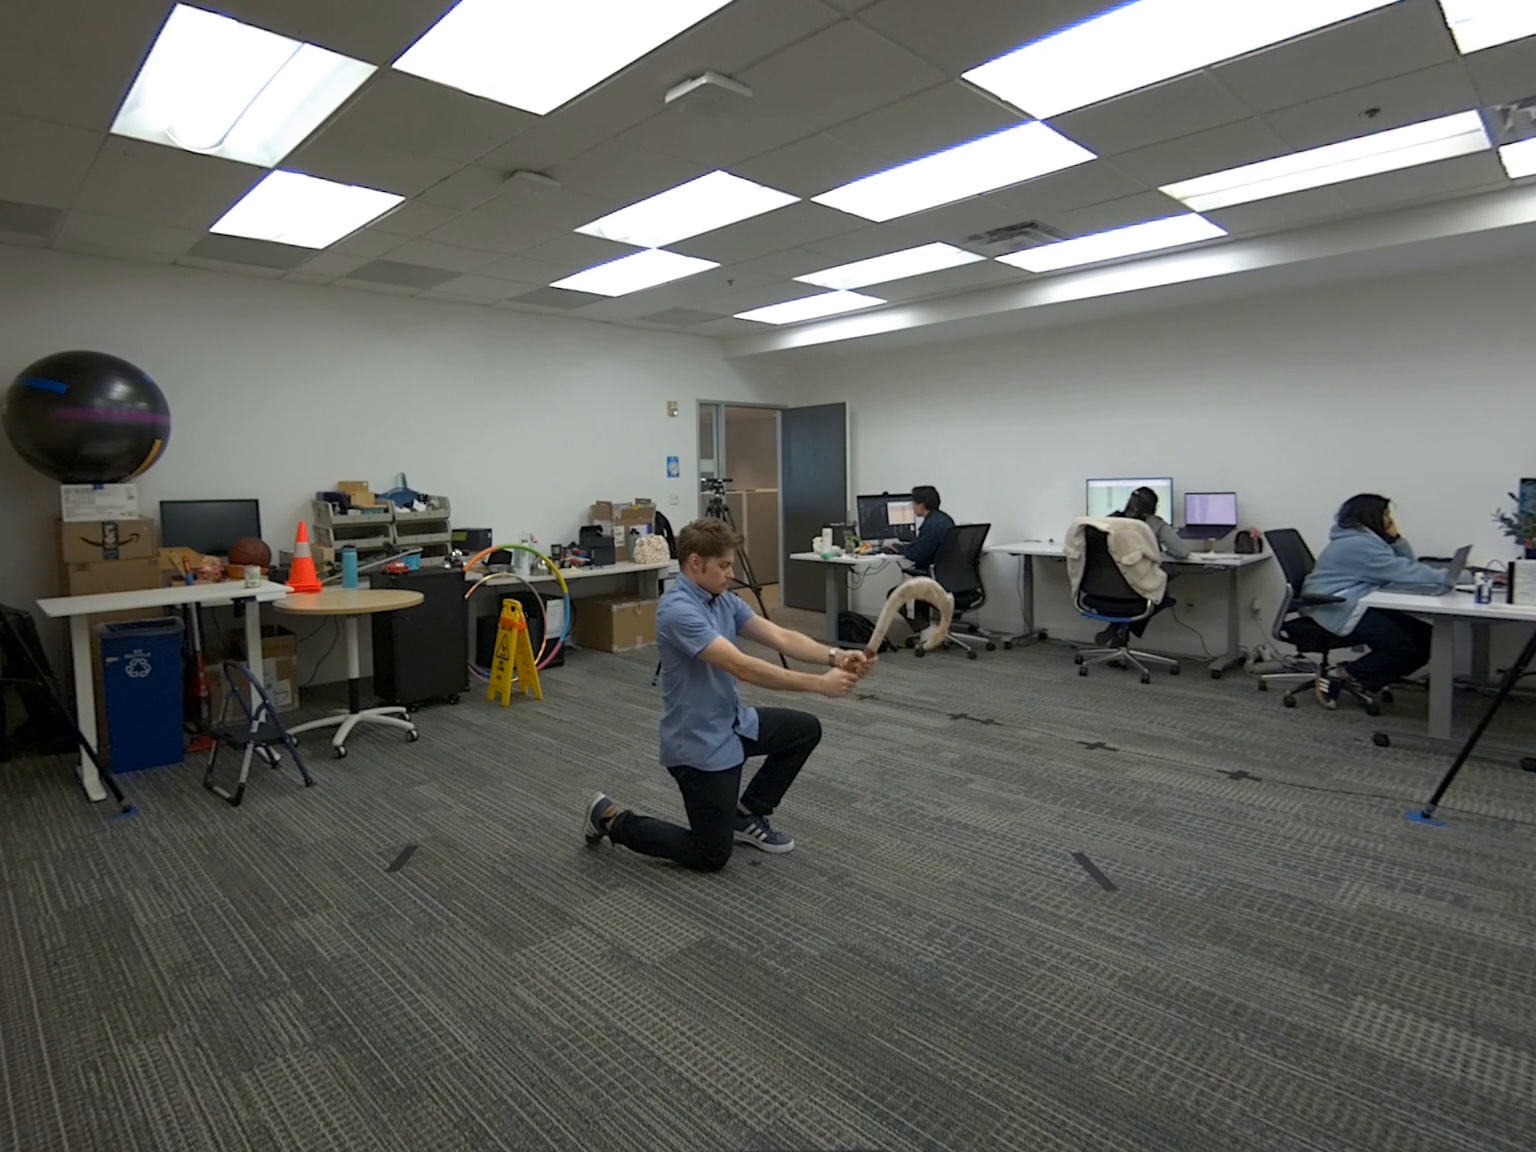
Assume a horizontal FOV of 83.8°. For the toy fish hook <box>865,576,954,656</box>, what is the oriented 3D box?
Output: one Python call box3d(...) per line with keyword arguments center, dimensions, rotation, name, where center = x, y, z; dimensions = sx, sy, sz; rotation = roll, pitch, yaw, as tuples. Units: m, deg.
box3d(center=(0.402, 0.232, 2.856), dimensions=(0.226, 0.505, 0.048), rotation=(37, 11, 5), name="toy fish hook")
